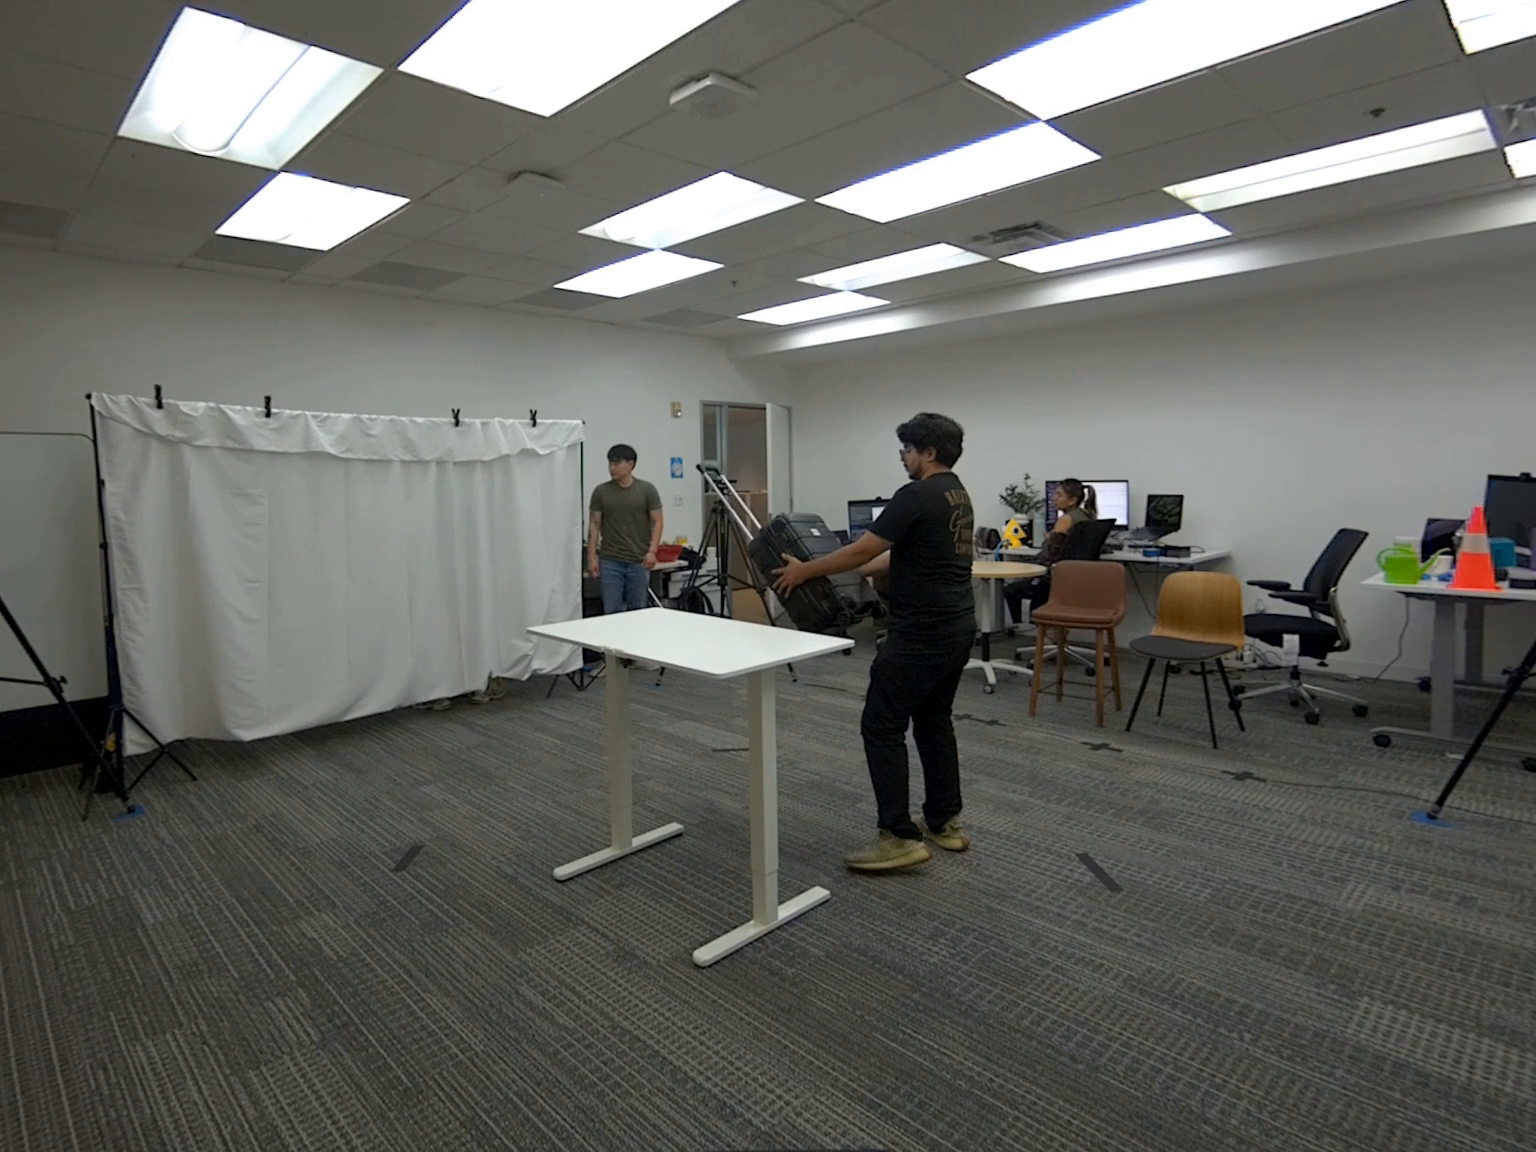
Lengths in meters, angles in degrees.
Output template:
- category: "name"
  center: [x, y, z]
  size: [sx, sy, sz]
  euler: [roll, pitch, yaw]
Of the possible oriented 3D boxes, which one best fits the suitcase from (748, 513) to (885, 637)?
- category: "suitcase"
  center: [0.080, -0.165, 3.558]
  size: [0.258, 1.003, 0.373]
  euler: [-42, -22, 25]
